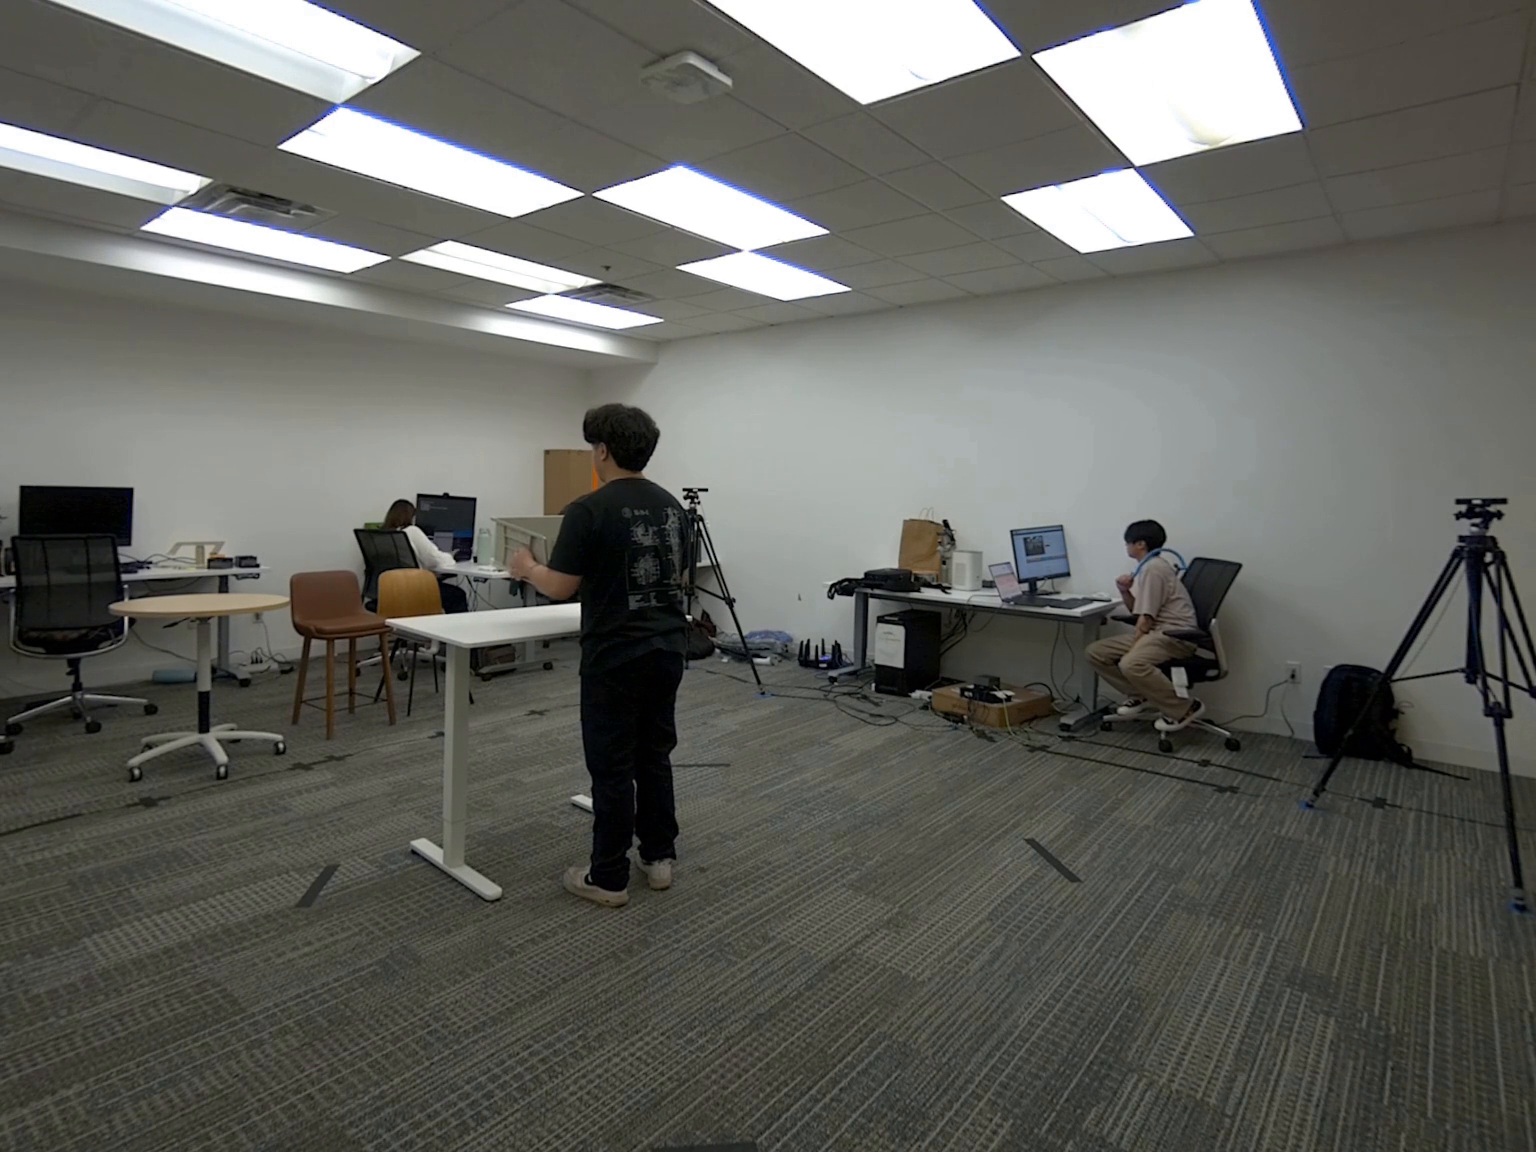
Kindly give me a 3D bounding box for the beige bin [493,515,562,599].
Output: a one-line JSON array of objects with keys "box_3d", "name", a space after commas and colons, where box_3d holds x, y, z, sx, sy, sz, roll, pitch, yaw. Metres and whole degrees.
[{"box_3d": [-0.764, -0.099, 3.181, 0.392, 0.187, 0.410, 16, 15, 42], "name": "beige bin"}]
